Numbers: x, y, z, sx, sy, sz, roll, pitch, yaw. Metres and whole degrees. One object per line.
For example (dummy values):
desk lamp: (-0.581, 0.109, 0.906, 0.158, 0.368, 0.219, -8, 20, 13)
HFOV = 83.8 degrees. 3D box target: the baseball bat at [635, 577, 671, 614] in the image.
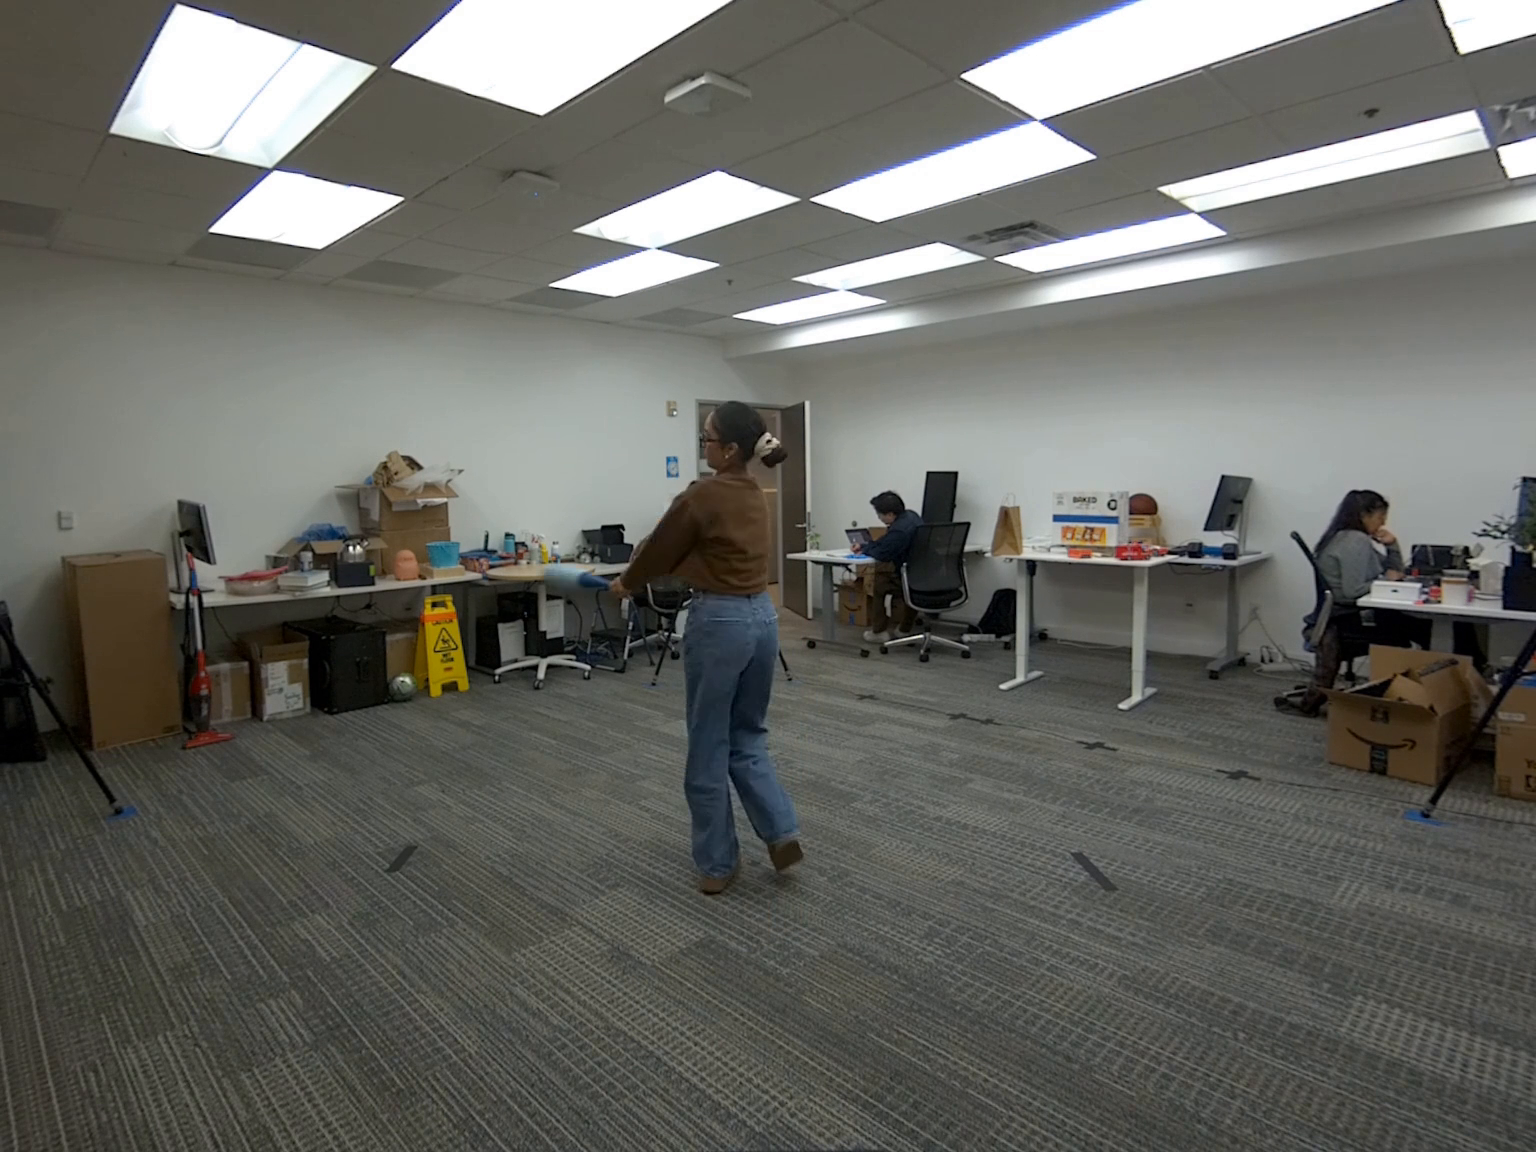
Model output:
baseball bat: (-0.436, 0.048, 3.279, 0.089, 0.088, 0.547, -1, 8, -3)
